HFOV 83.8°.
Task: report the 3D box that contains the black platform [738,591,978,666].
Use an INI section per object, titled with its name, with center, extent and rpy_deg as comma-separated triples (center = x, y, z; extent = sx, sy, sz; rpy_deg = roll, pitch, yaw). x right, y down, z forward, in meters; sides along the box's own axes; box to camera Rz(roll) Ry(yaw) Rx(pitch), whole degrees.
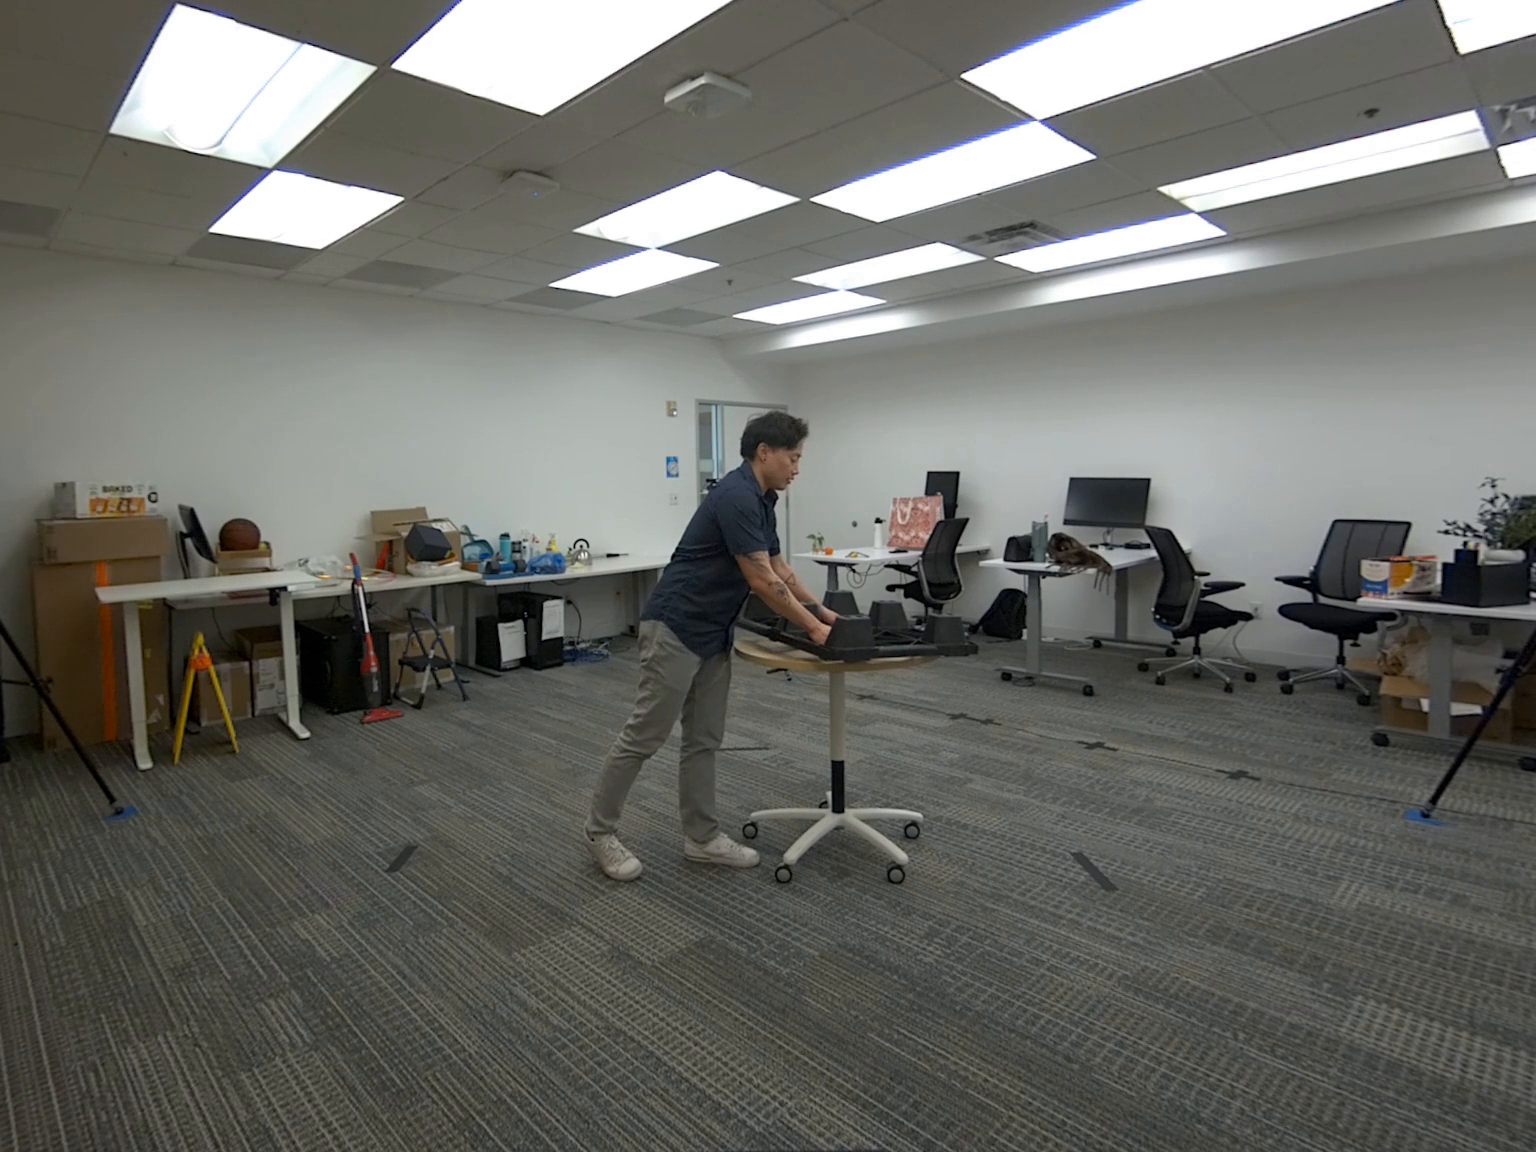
[black platform]
center = 0.292, 0.164, 3.162
extent = 0.592, 0.143, 0.827
rpy_deg = -1, 6, -26
